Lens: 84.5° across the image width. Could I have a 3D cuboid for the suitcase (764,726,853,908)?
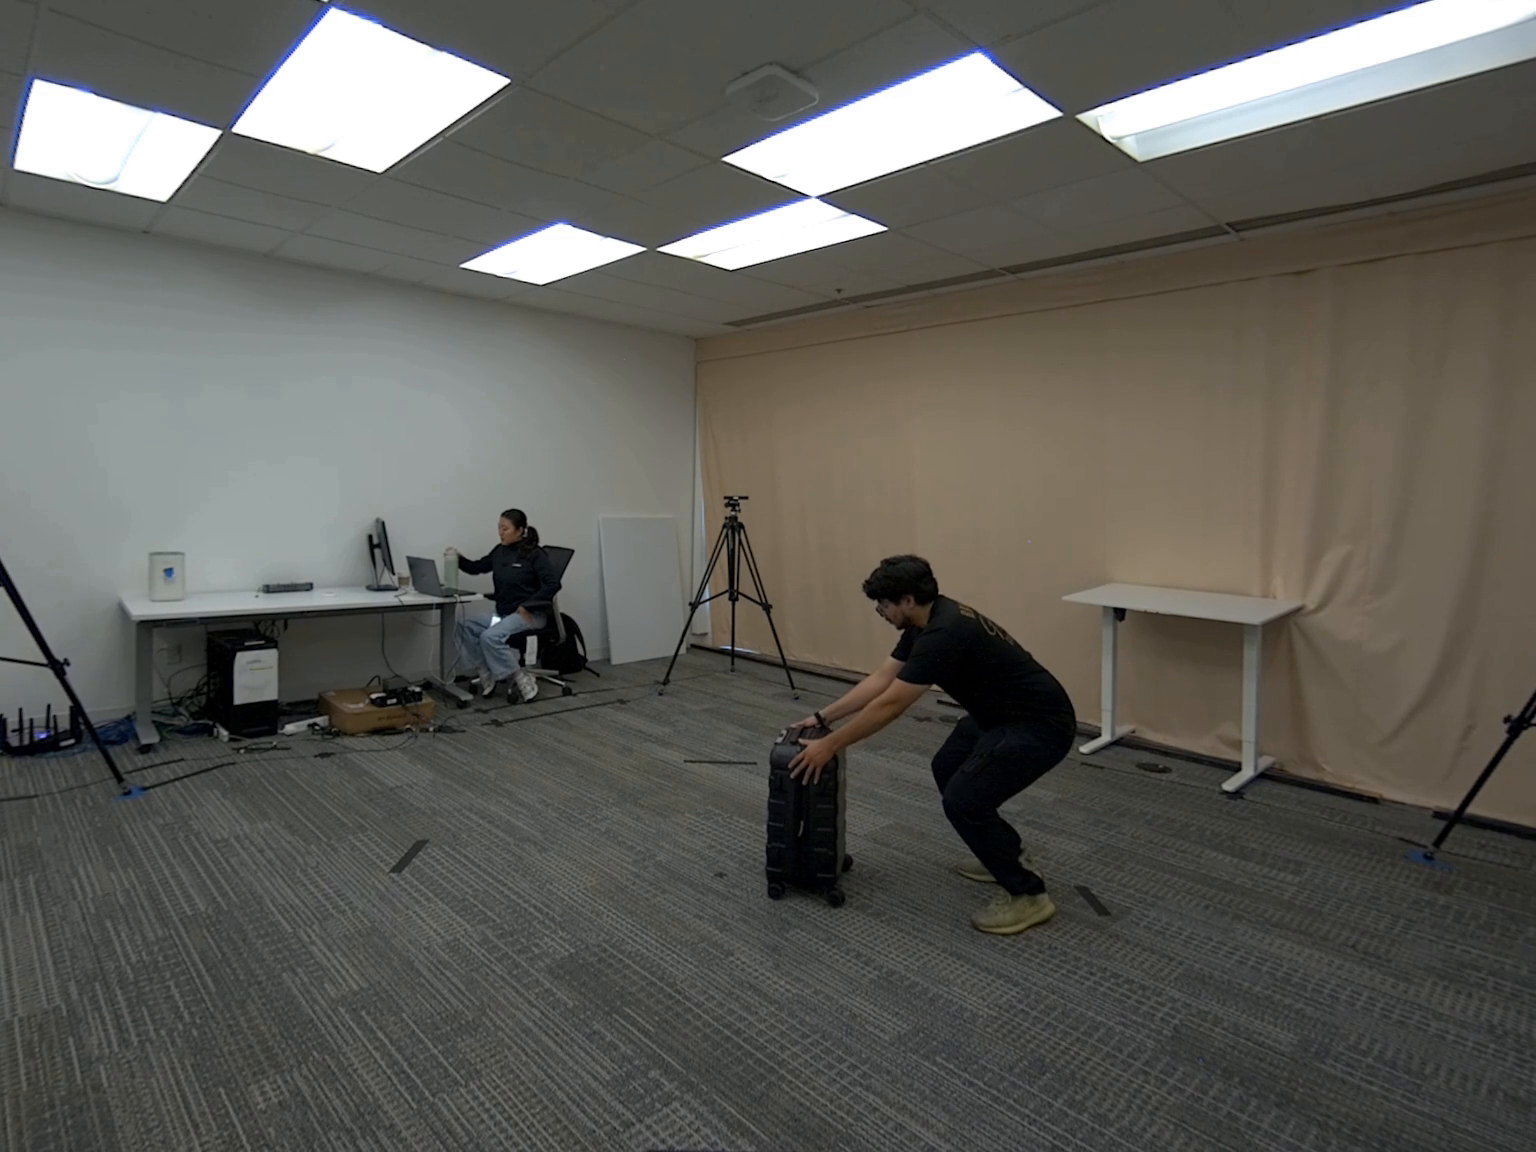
[{"bbox_3d":[0.149,0.838,3.052,0.251,0.548,0.372,0,3,11],"label":"suitcase"}]
